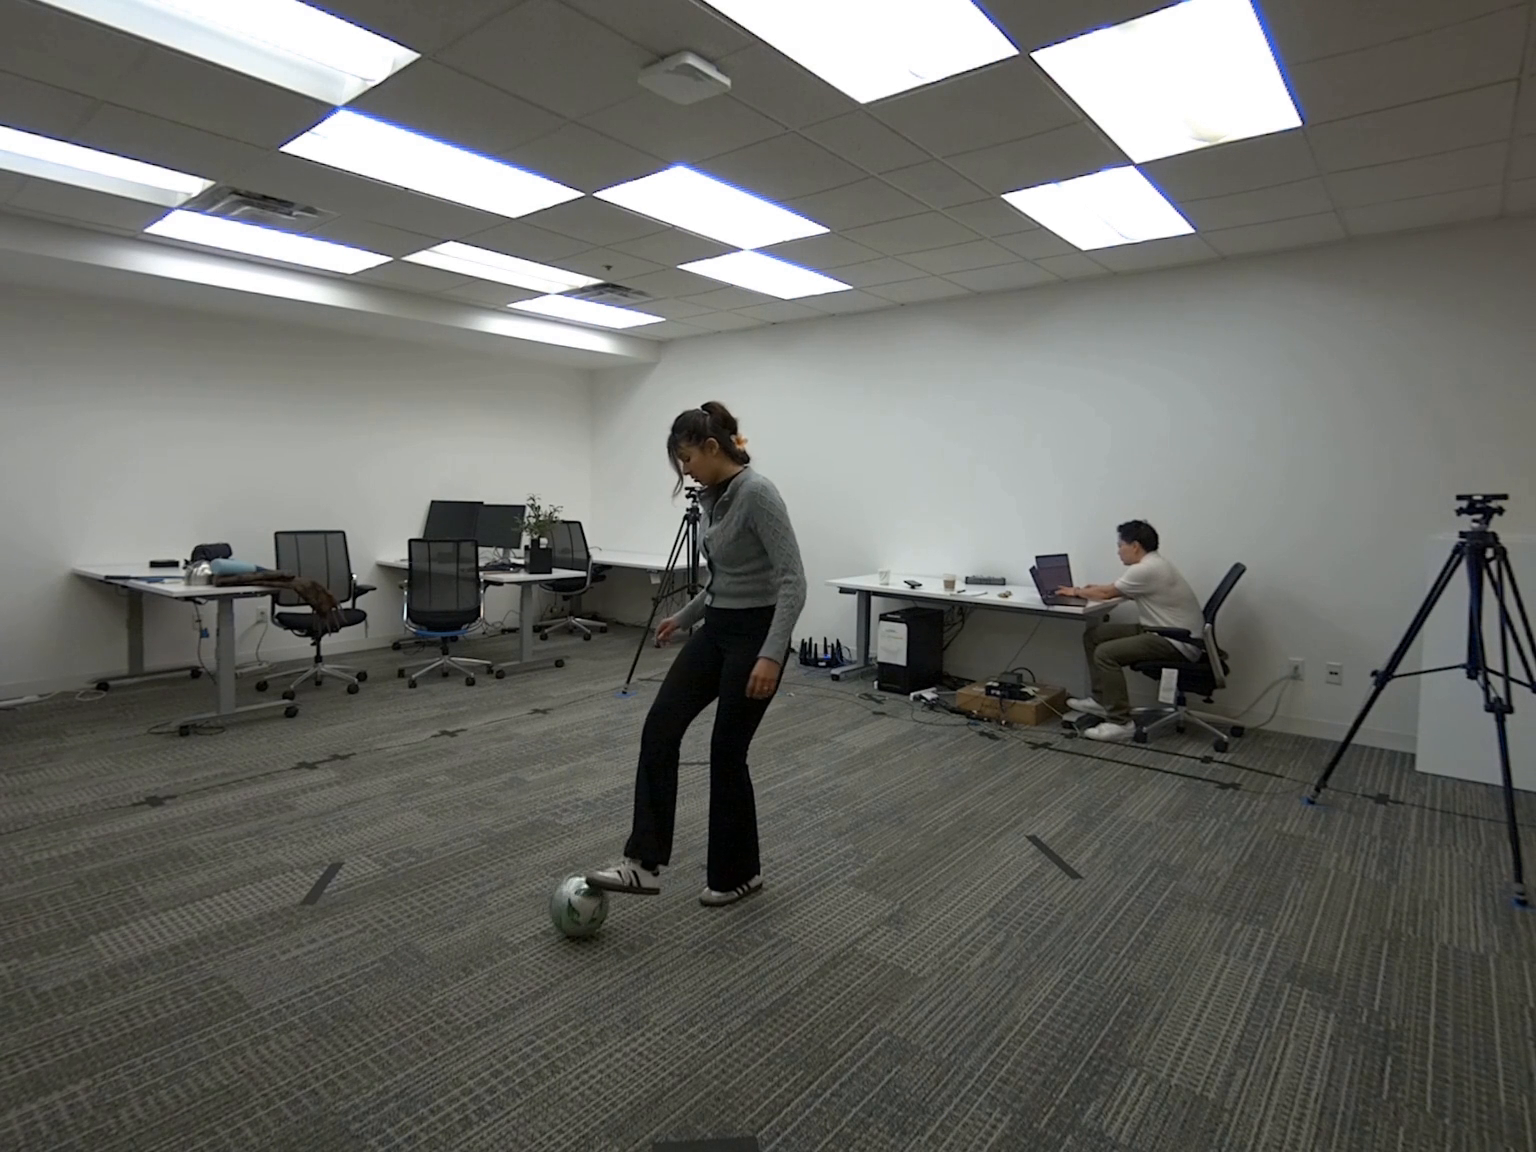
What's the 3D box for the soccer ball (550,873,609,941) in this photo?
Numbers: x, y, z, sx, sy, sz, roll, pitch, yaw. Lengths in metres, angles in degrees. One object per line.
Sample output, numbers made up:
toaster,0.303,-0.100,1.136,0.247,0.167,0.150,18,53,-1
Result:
soccer ball,-0.593,1.009,2.657,0.187,0.187,0.188,1,4,-2
